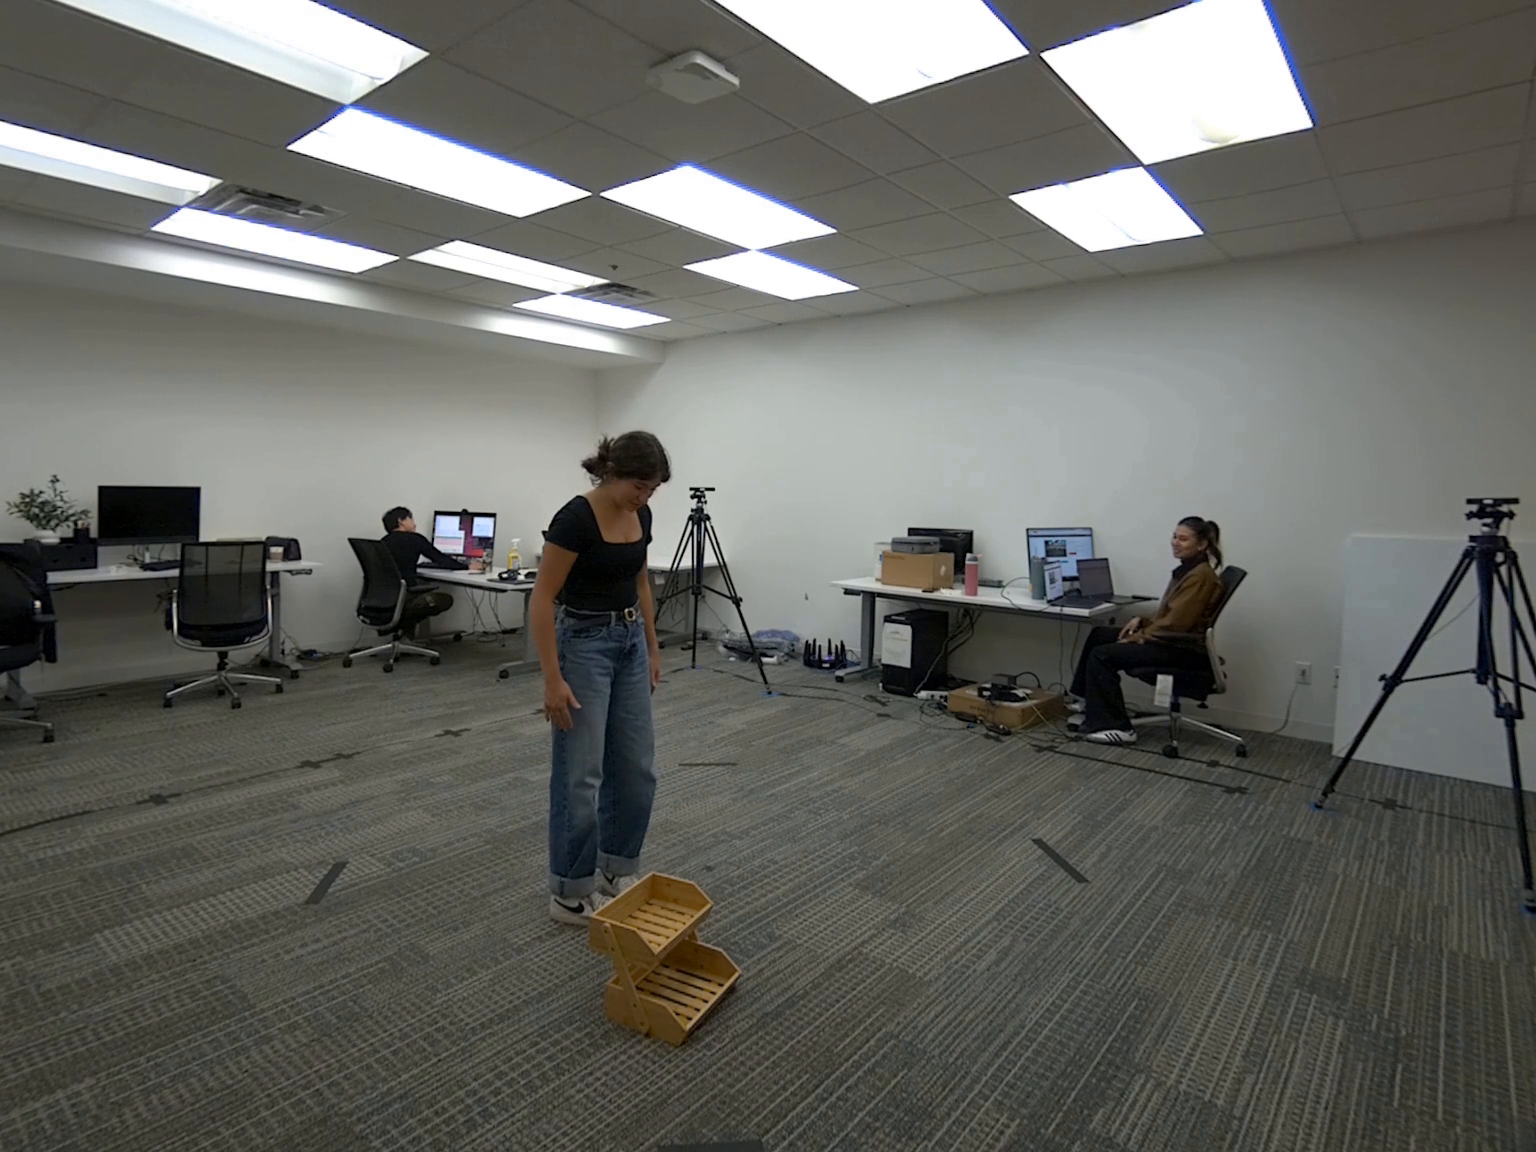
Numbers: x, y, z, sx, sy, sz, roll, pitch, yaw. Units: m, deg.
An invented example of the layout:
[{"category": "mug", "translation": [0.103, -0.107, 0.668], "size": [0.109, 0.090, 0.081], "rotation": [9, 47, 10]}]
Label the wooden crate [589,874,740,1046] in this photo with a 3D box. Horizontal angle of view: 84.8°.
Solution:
[{"category": "wooden crate", "translation": [-0.278, 1.013, 2.299], "size": [0.310, 0.272, 0.317], "rotation": [3, 5, 27]}]
